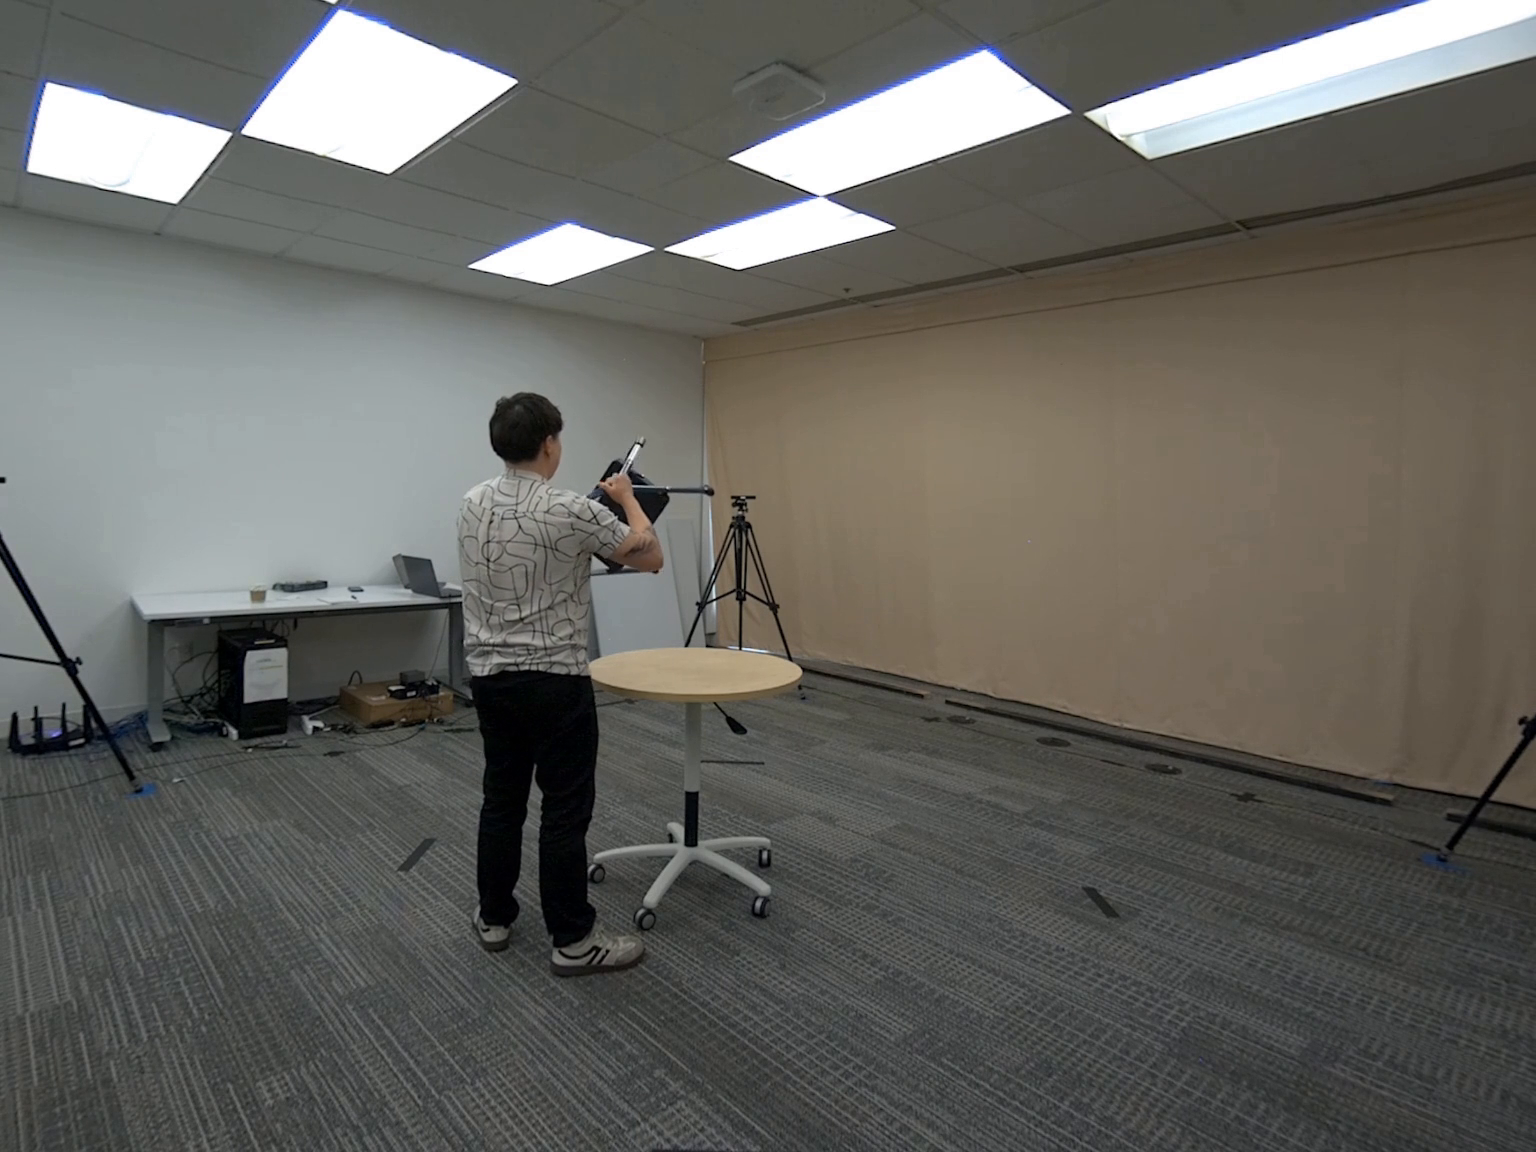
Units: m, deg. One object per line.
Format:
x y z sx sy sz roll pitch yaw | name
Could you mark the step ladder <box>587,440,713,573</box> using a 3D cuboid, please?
-0.530 -0.182 2.921 0.350 0.429 0.605 38 23 2 | step ladder
